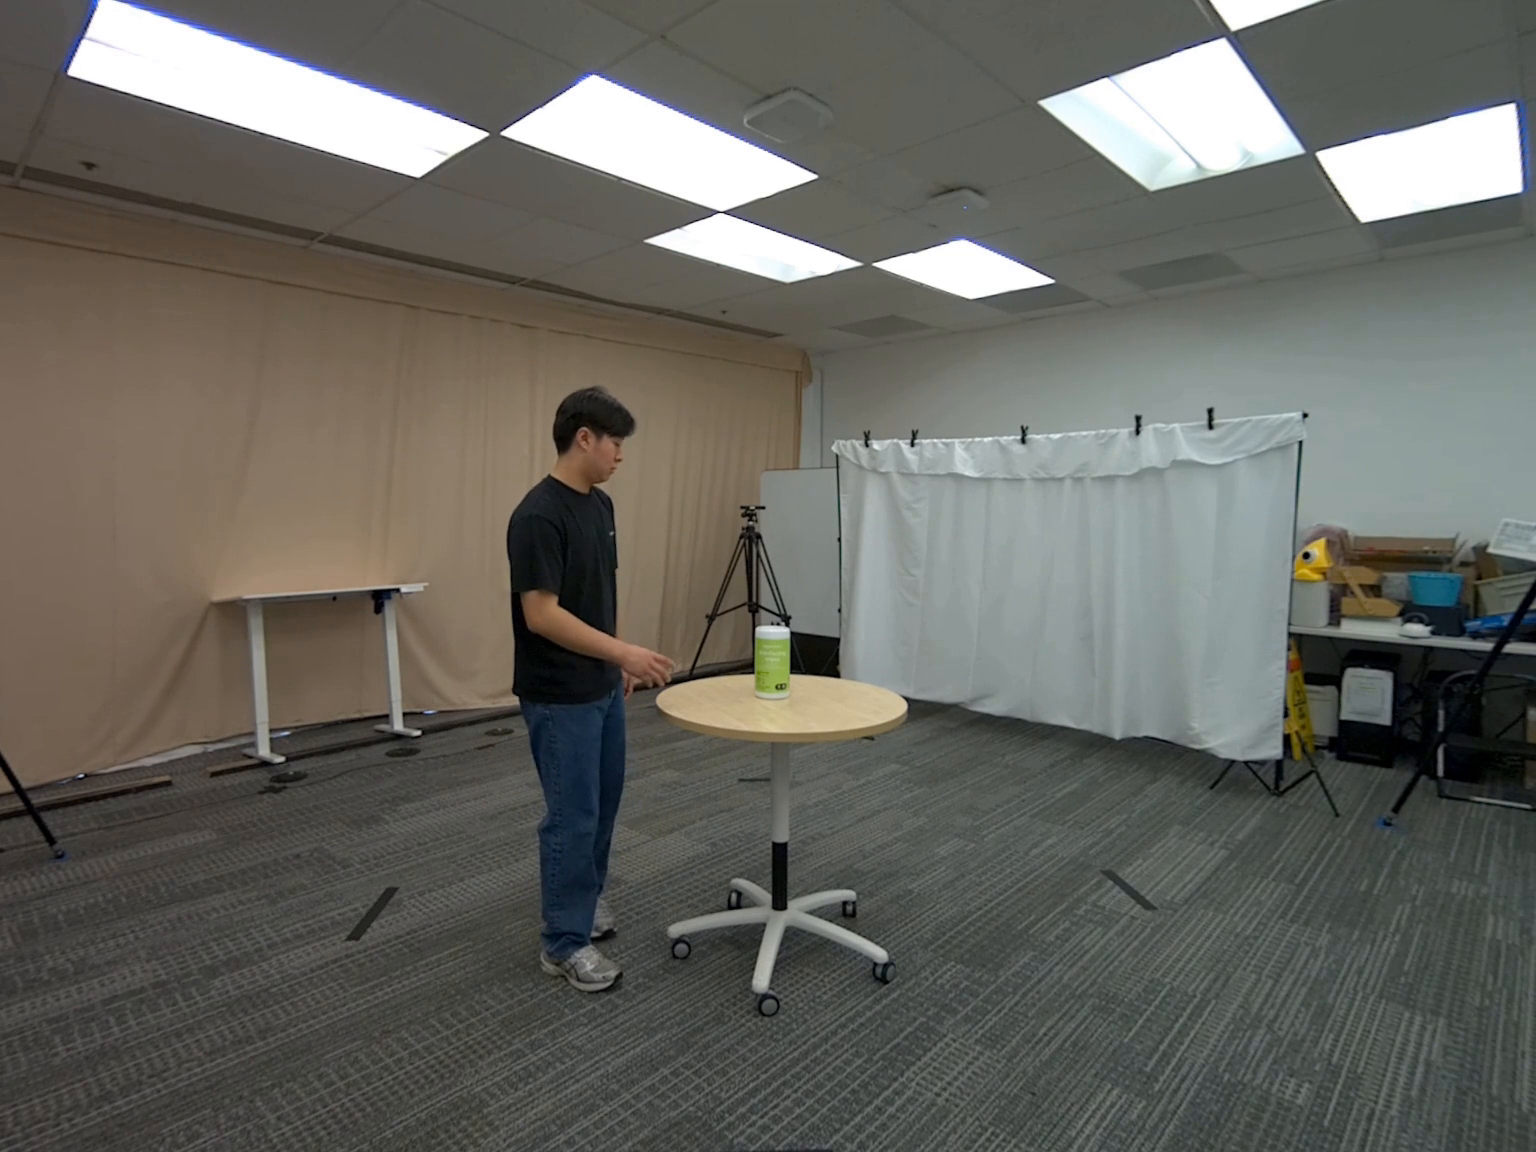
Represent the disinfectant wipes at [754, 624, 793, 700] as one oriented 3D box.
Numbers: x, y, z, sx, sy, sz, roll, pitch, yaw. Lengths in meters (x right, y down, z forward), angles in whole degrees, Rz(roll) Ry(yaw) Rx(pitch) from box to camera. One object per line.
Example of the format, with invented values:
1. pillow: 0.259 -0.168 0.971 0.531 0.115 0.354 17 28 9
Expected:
1. disinfectant wipes: 0.016 0.272 2.619 0.118 0.217 0.118 0 4 -2
